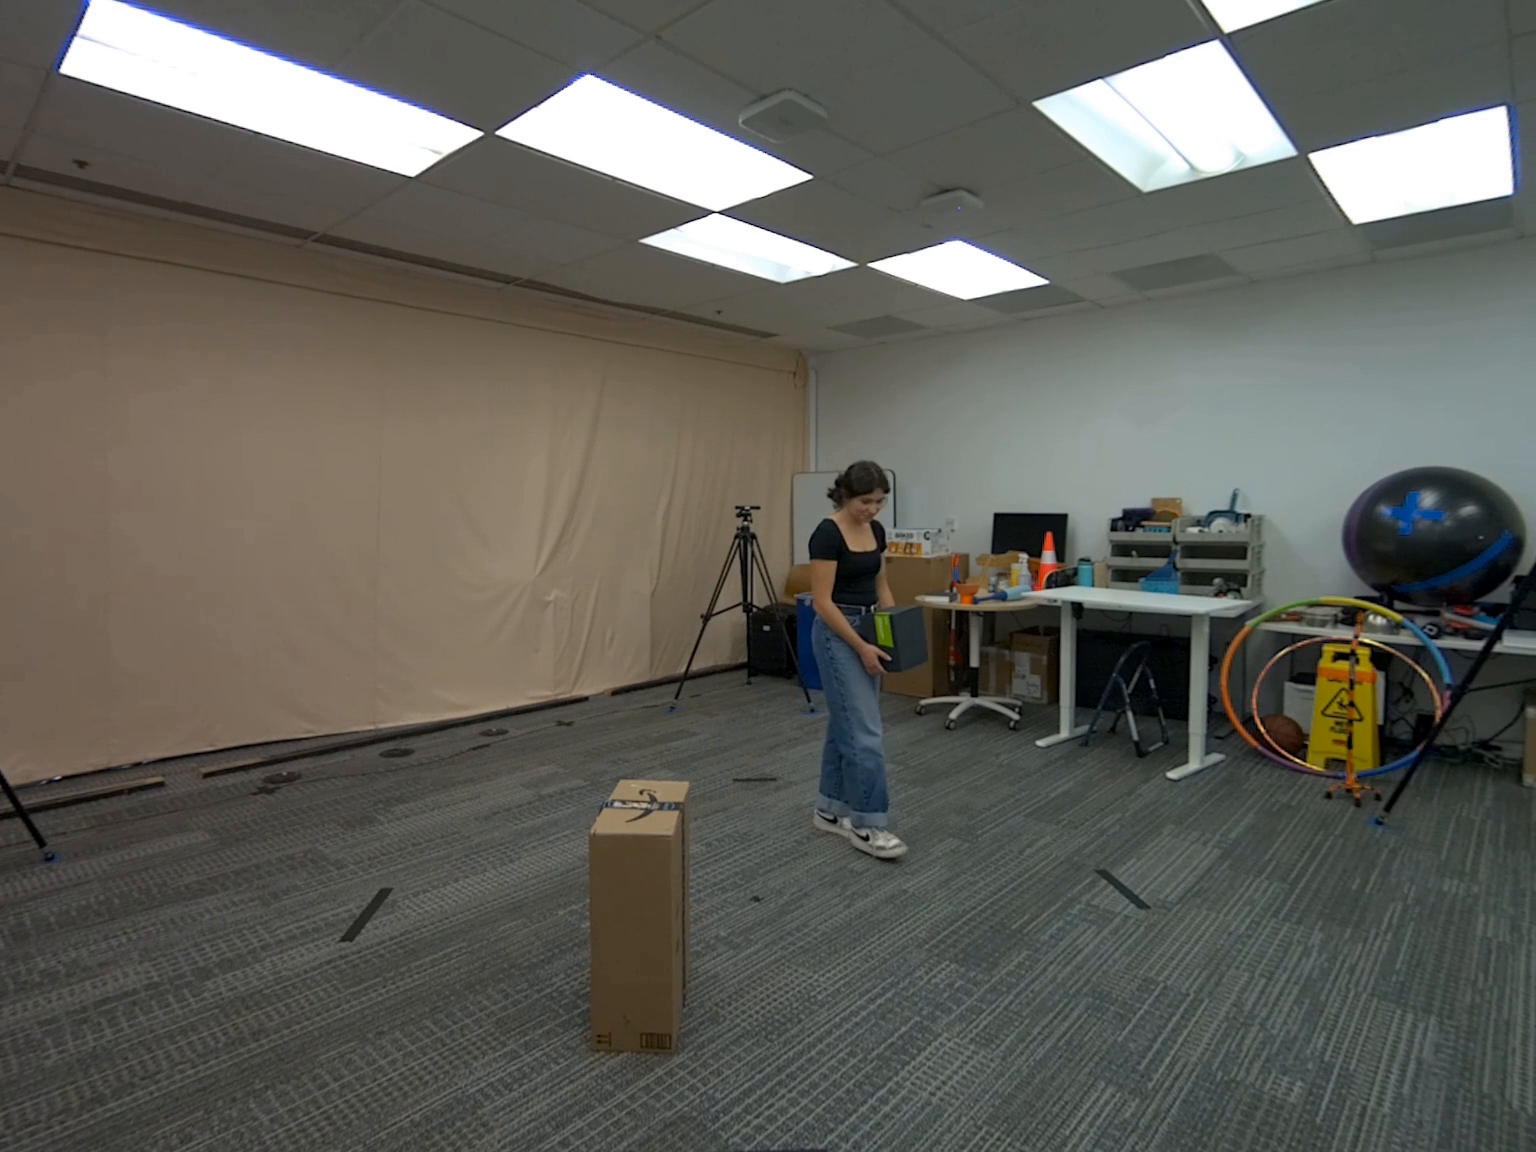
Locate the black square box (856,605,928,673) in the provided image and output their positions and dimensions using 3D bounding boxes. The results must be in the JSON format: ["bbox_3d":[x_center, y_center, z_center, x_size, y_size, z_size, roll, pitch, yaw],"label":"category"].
[{"bbox_3d":[0.507,0.246,3.353,0.161,0.227,0.211,-4,5,43],"label":"black square box"}]
